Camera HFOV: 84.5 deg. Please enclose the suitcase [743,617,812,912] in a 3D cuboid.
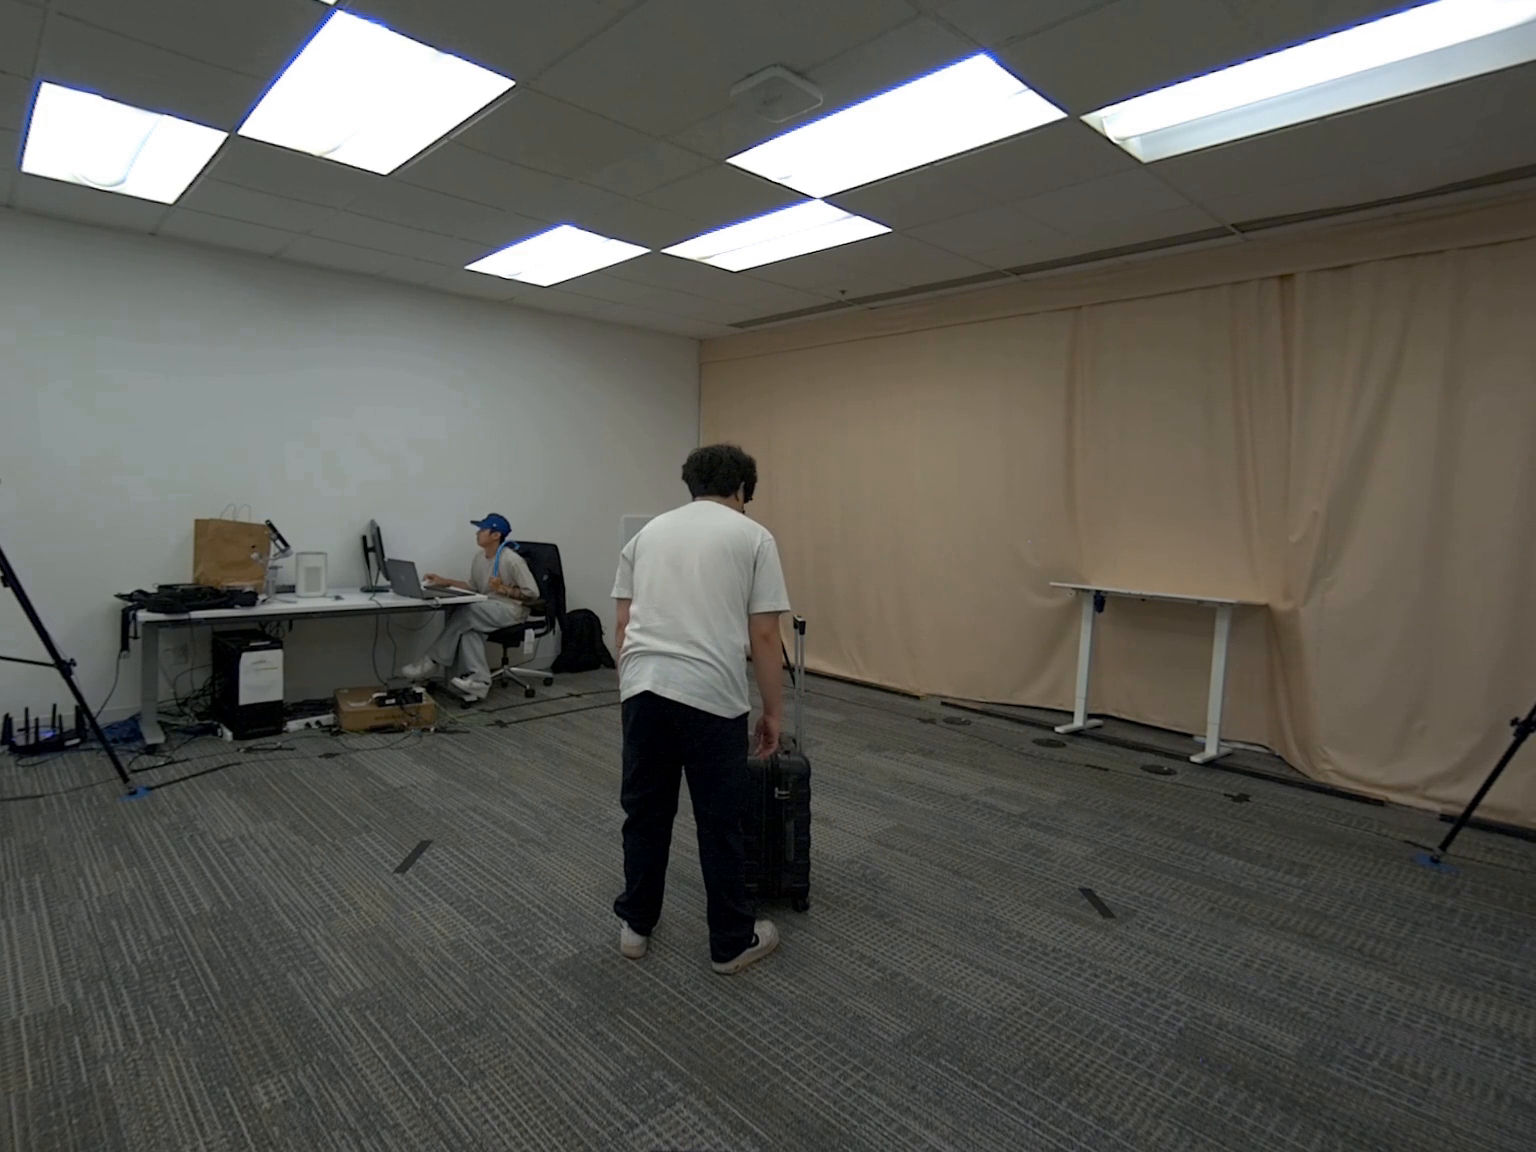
[{"bbox_3d":[0.008,0.650,2.948,0.256,0.976,0.386,-2,3,-3],"label":"suitcase"}]
